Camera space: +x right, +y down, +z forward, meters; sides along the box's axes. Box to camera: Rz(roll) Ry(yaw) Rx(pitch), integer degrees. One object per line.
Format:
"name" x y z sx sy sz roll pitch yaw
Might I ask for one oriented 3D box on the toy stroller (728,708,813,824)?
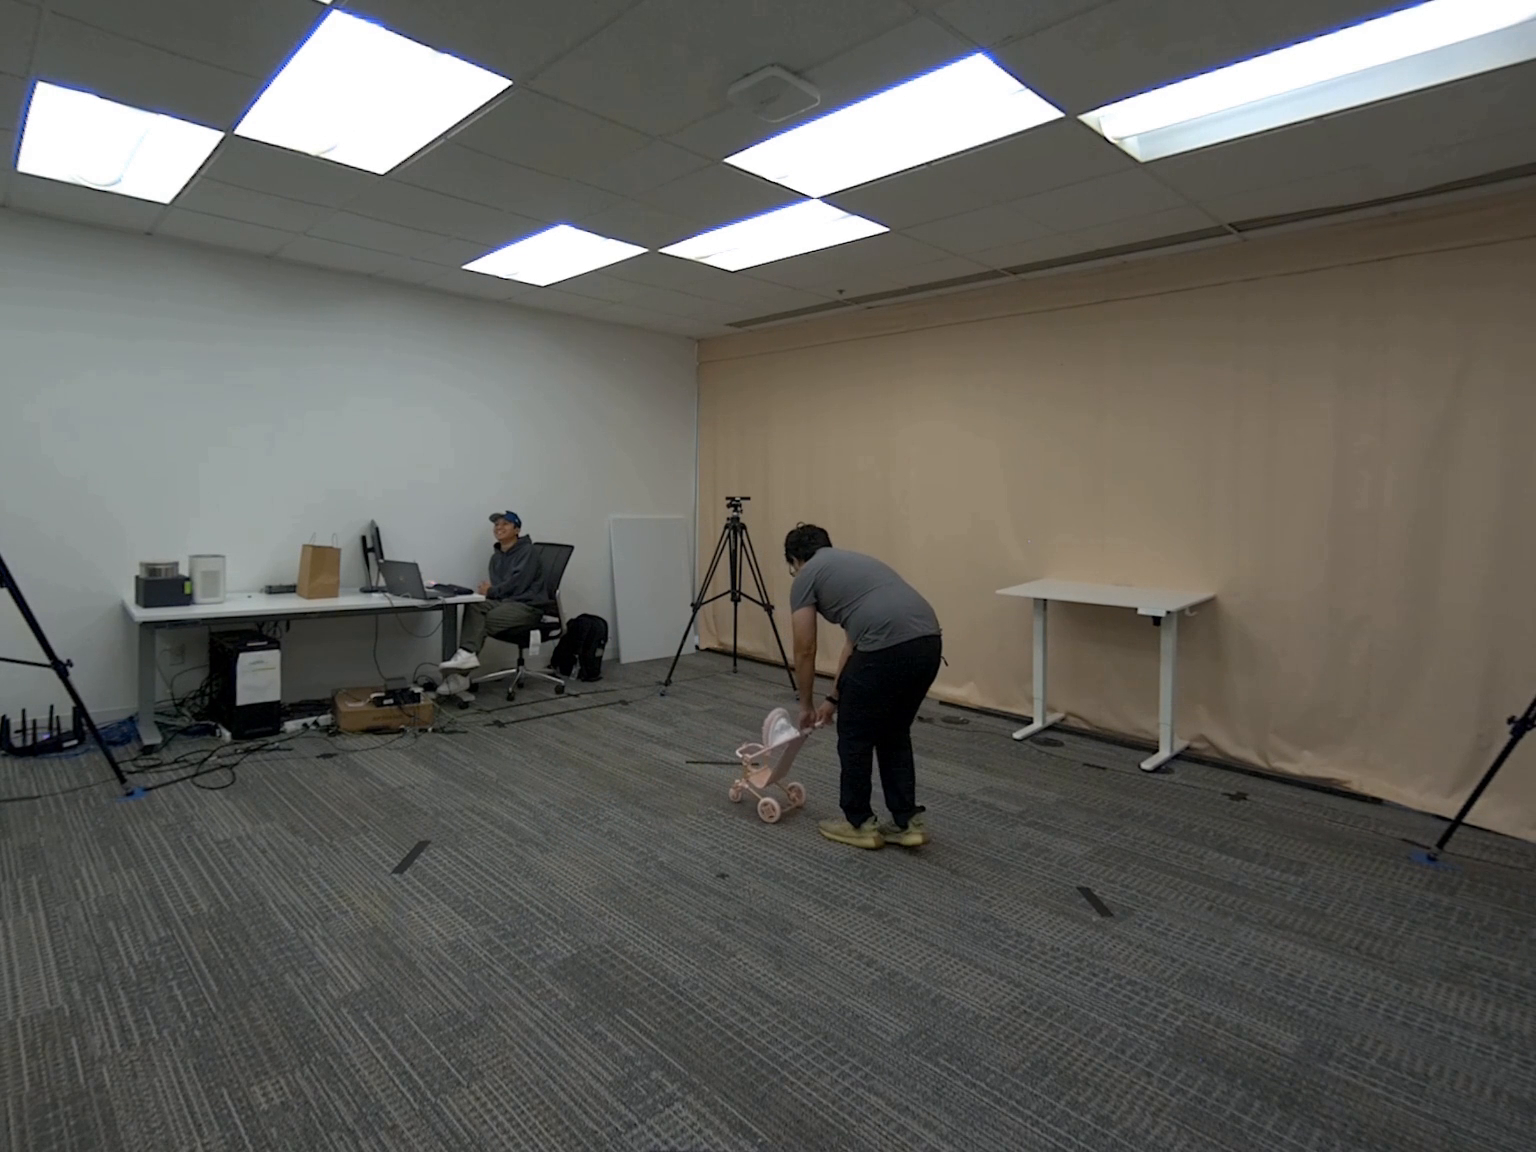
"toy stroller" 0.010 0.827 3.764 0.351 0.531 0.275 24 15 33
